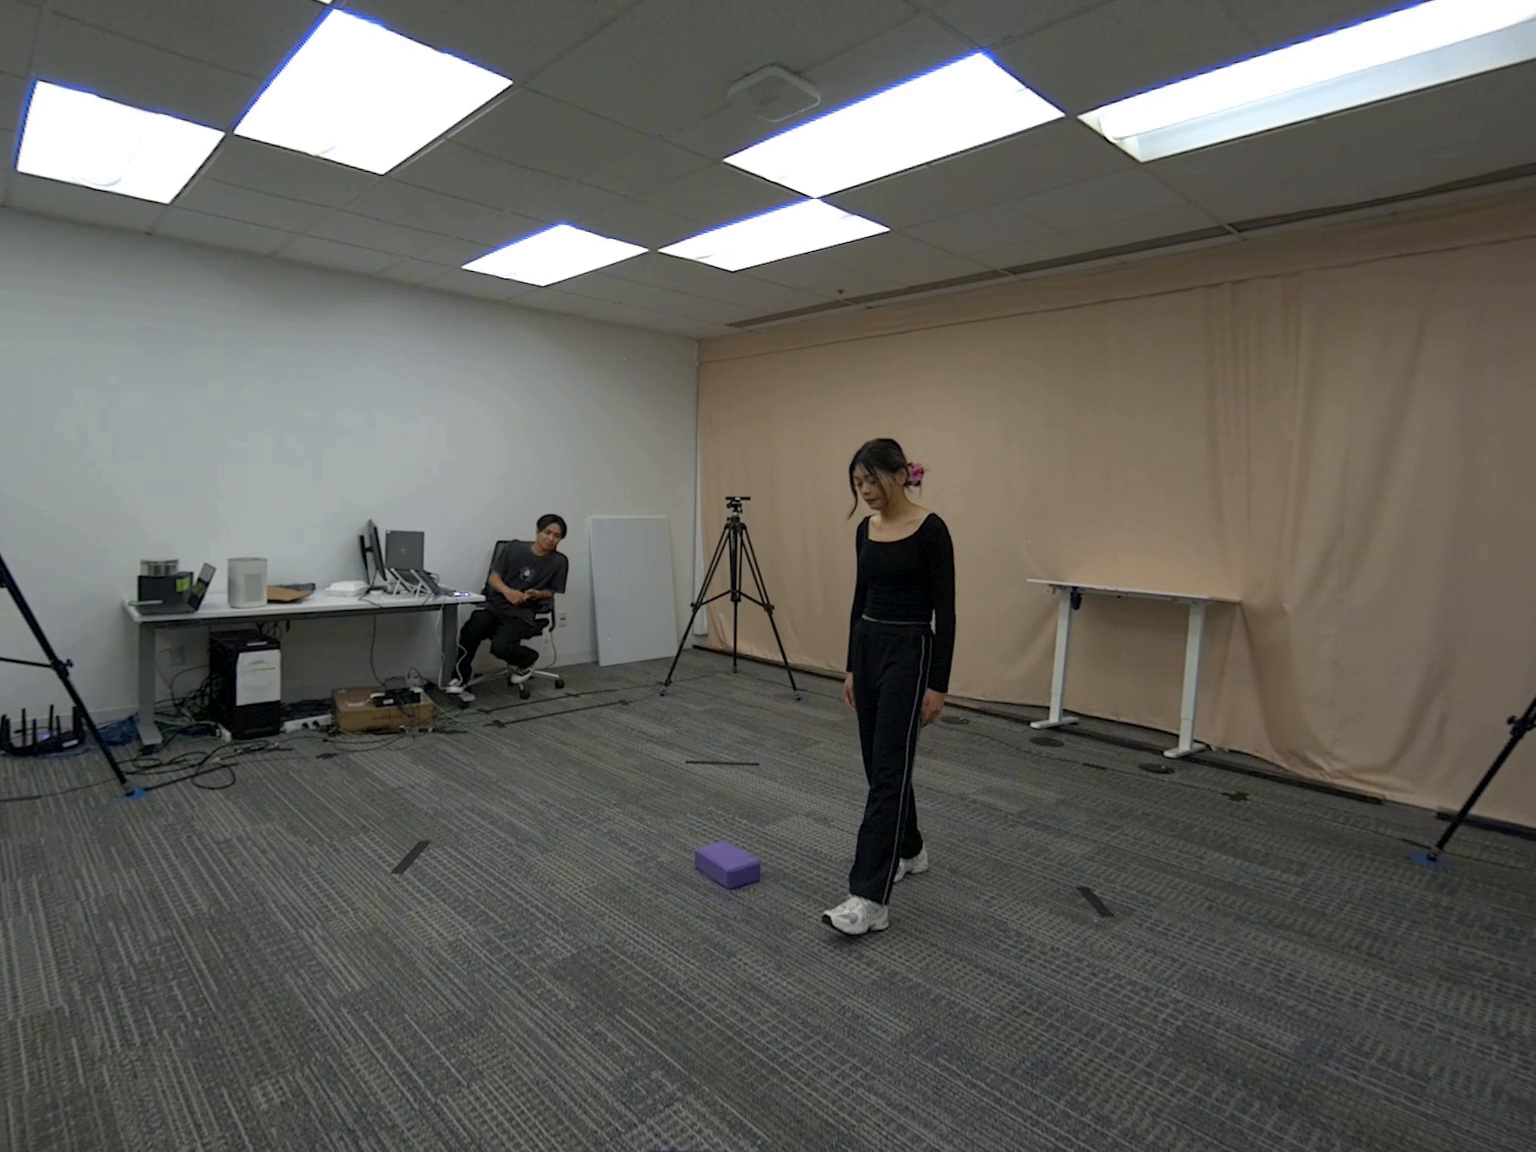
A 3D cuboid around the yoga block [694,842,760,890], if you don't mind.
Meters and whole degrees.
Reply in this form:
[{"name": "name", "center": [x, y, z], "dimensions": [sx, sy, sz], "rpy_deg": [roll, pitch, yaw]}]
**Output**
[{"name": "yoga block", "center": [-0.157, 1.063, 3.112], "dimensions": [0.146, 0.076, 0.235], "rpy_deg": [-4, 7, -35]}]
